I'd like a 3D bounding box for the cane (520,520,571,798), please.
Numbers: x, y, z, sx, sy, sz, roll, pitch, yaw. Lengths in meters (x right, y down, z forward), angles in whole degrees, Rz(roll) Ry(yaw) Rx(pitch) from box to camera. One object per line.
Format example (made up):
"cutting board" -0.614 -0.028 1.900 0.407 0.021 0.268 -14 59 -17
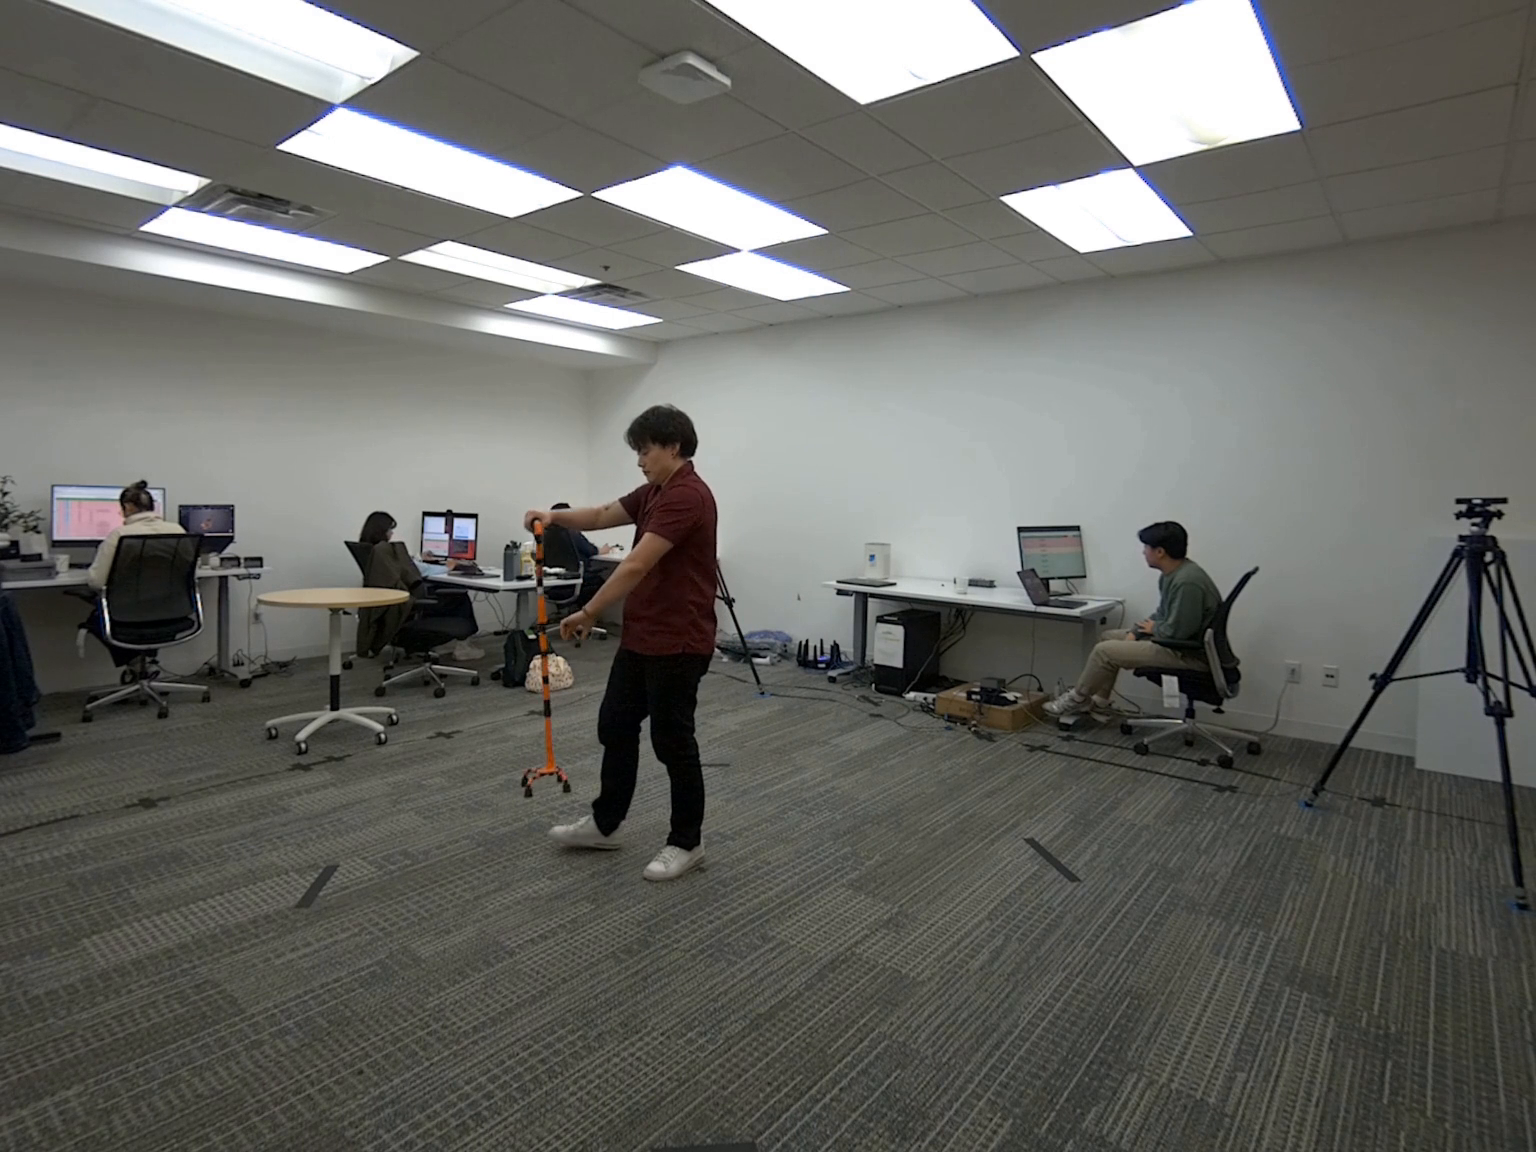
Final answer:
"cane" -0.787 0.276 2.880 0.147 0.910 0.212 -3 -3 -33
